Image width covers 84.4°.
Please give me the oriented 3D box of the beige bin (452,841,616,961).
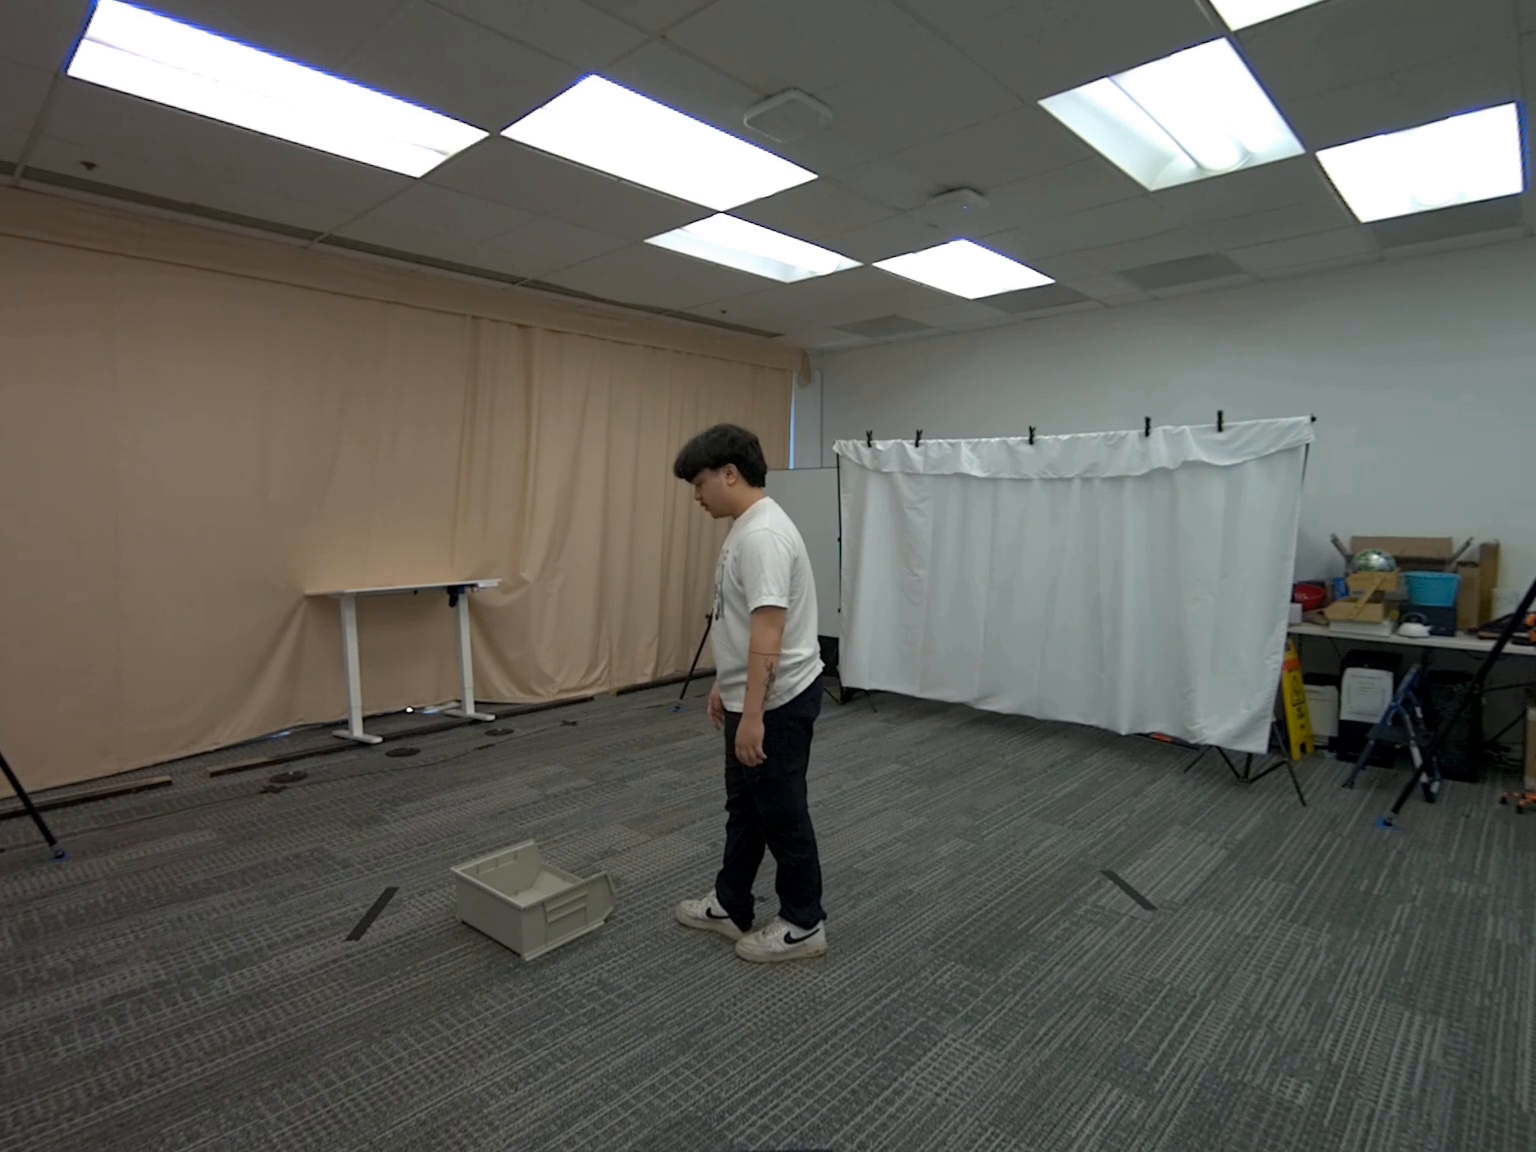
[{"bbox_3d":[-0.793,1.077,2.836,0.436,0.188,0.366,4,7,39],"label":"beige bin"}]
